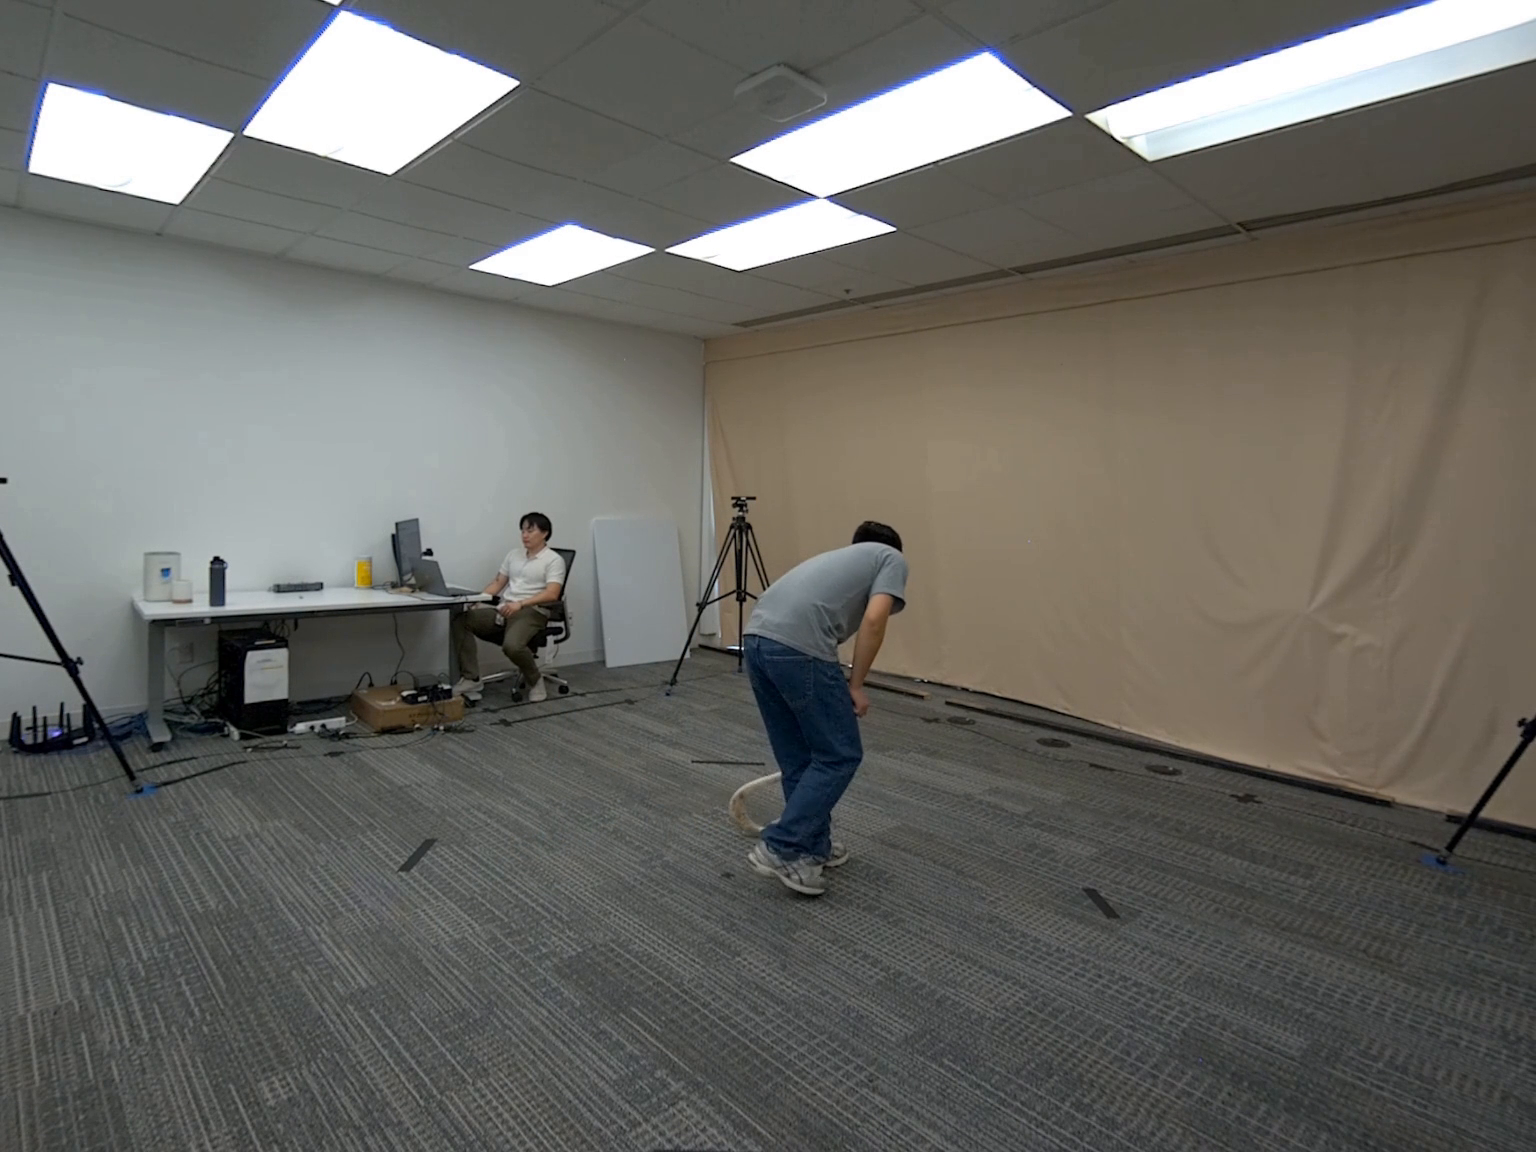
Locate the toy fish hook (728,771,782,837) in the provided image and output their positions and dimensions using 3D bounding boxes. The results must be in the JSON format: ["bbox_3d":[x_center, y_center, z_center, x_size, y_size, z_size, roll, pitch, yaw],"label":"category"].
[{"bbox_3d":[0.056,0.877,3.431,0.507,0.225,0.048,-42,-2,16],"label":"toy fish hook"}]
